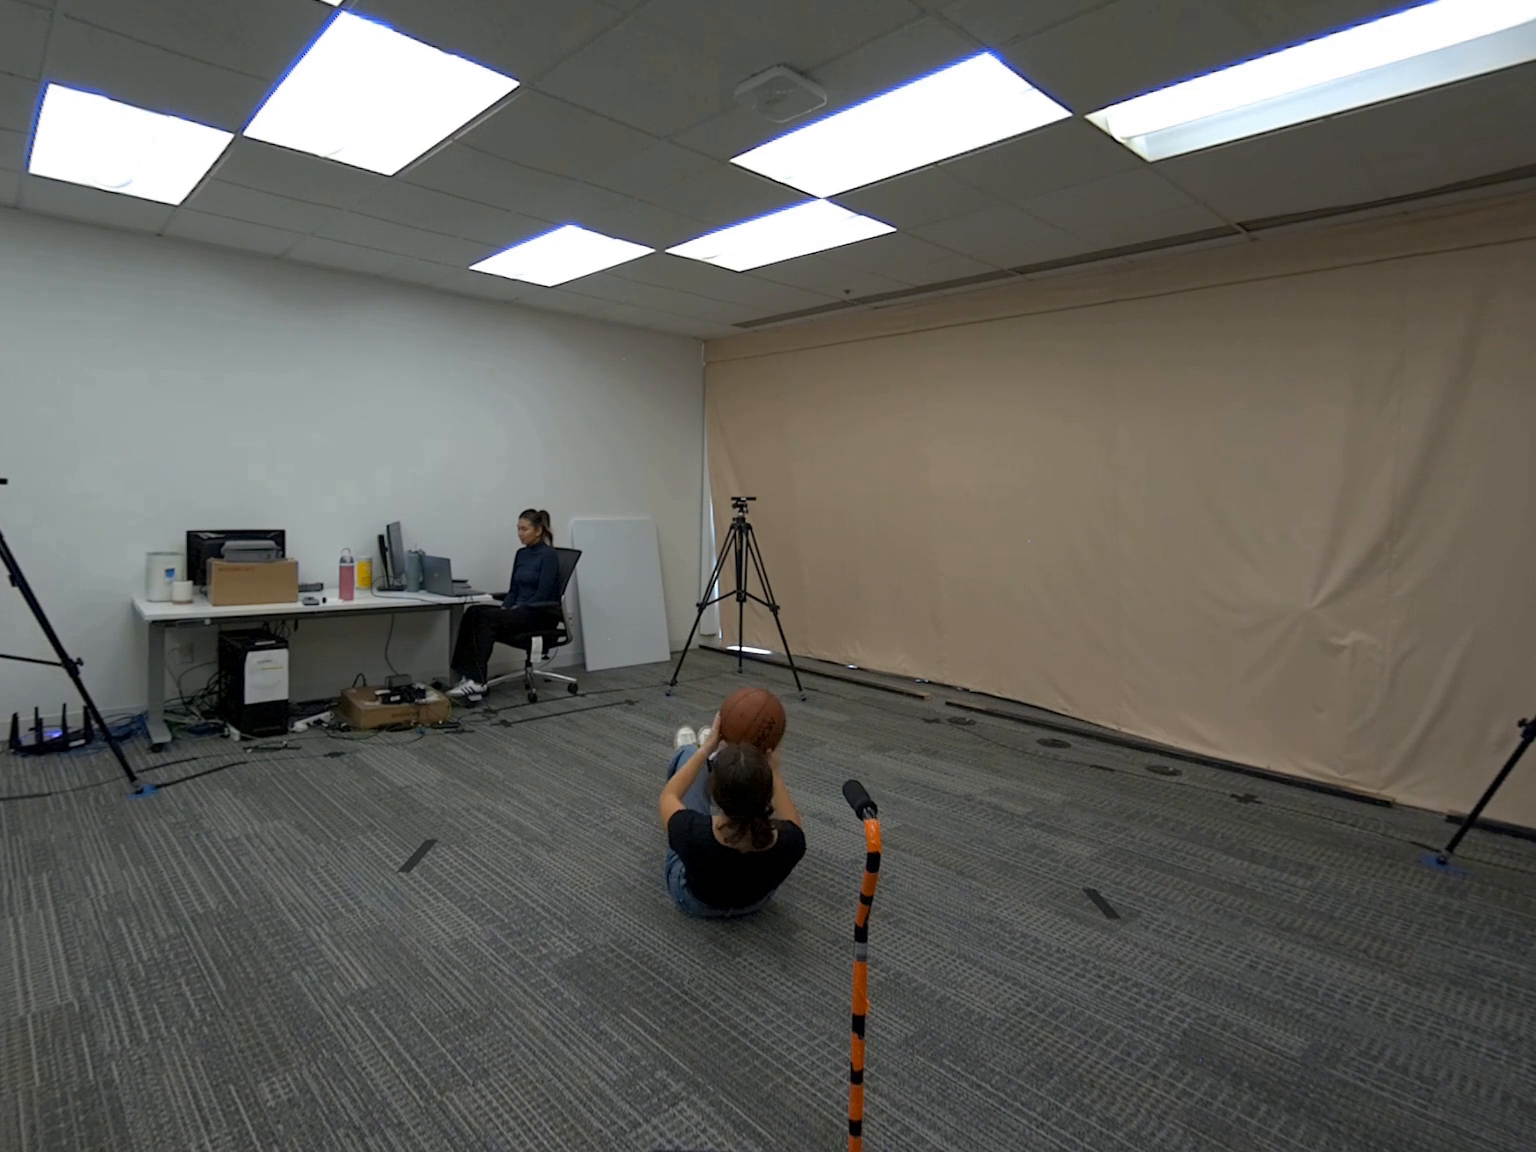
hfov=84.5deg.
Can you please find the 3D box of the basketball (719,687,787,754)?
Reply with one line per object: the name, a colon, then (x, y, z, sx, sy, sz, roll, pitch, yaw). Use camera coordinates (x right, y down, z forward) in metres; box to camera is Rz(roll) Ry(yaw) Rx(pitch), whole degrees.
basketball: (-0.073, 0.515, 2.964, 0.236, 0.235, 0.237, 1, 4, -1)
